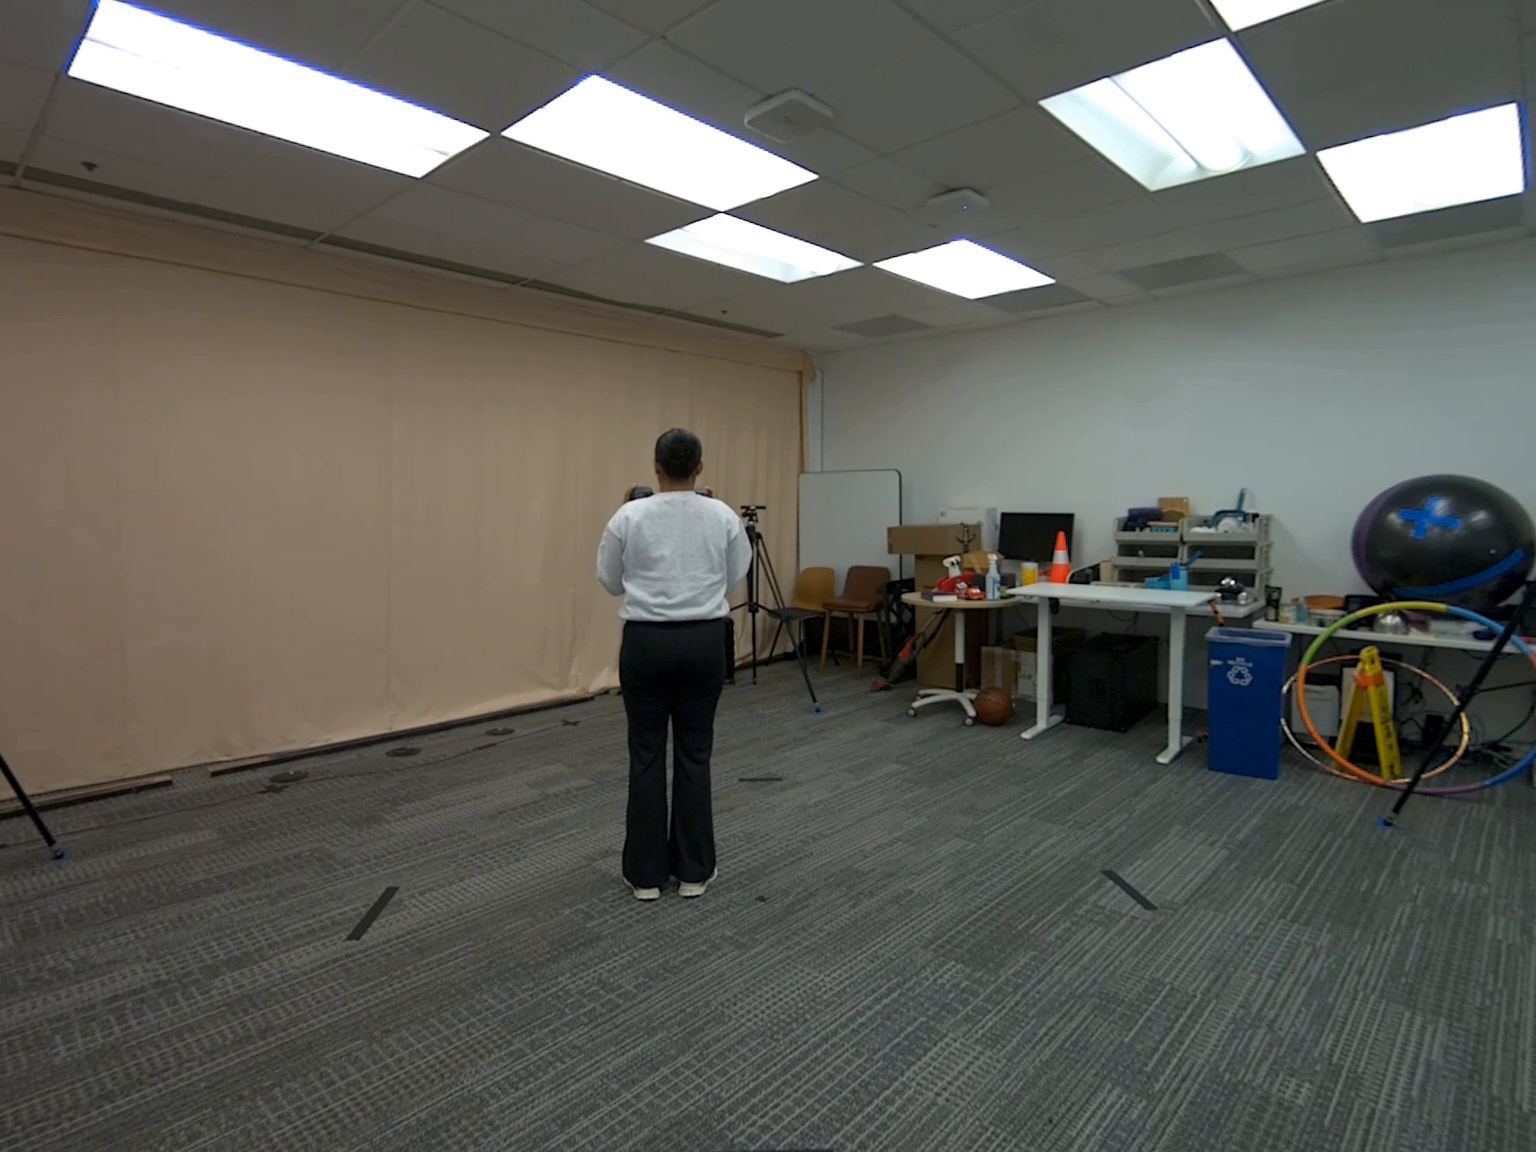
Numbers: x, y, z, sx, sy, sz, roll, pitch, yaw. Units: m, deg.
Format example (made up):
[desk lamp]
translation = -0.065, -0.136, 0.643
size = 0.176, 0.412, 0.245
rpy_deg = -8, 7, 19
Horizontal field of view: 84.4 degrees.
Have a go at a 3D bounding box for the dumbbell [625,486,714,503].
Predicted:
[dumbbell]
translation = -0.364, -0.269, 3.146
size = 0.291, 0.111, 0.121
rpy_deg = 1, -37, -7
